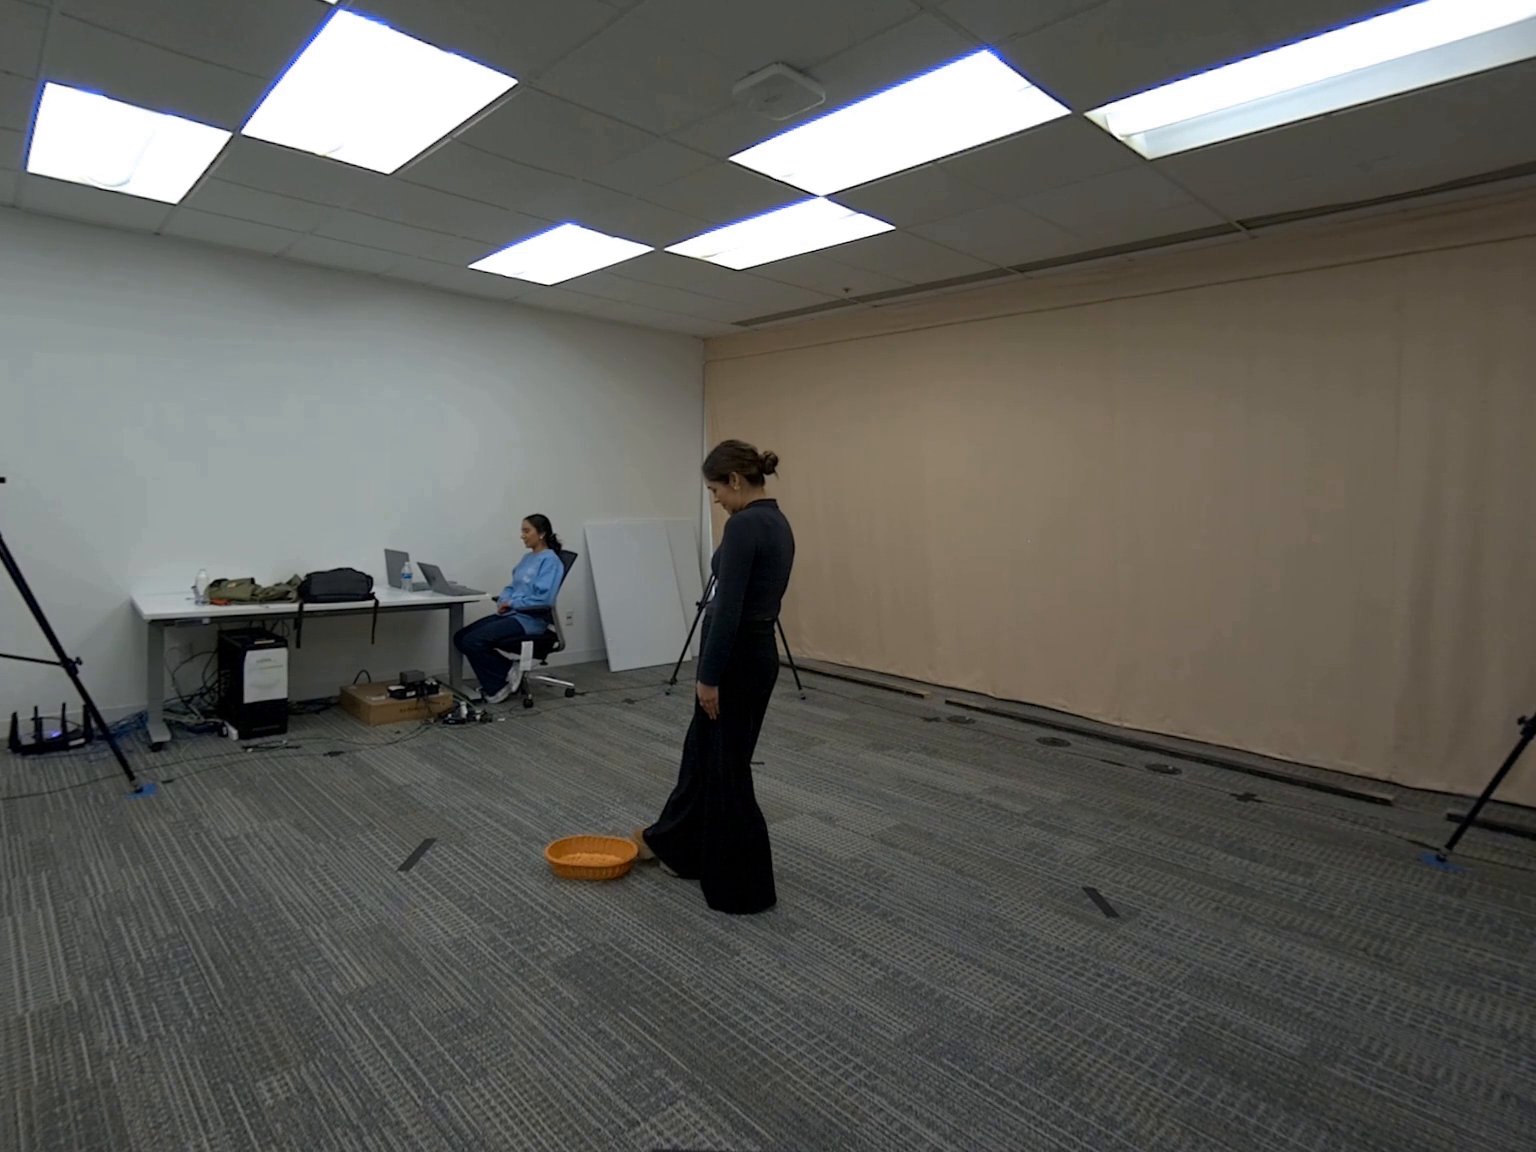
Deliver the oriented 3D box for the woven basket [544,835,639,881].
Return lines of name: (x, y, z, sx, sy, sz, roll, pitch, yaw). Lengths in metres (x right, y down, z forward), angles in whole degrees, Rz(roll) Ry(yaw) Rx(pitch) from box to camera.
woven basket: (-0.657, 1.043, 3.124, 0.353, 0.073, 0.252, 1, 6, 8)
